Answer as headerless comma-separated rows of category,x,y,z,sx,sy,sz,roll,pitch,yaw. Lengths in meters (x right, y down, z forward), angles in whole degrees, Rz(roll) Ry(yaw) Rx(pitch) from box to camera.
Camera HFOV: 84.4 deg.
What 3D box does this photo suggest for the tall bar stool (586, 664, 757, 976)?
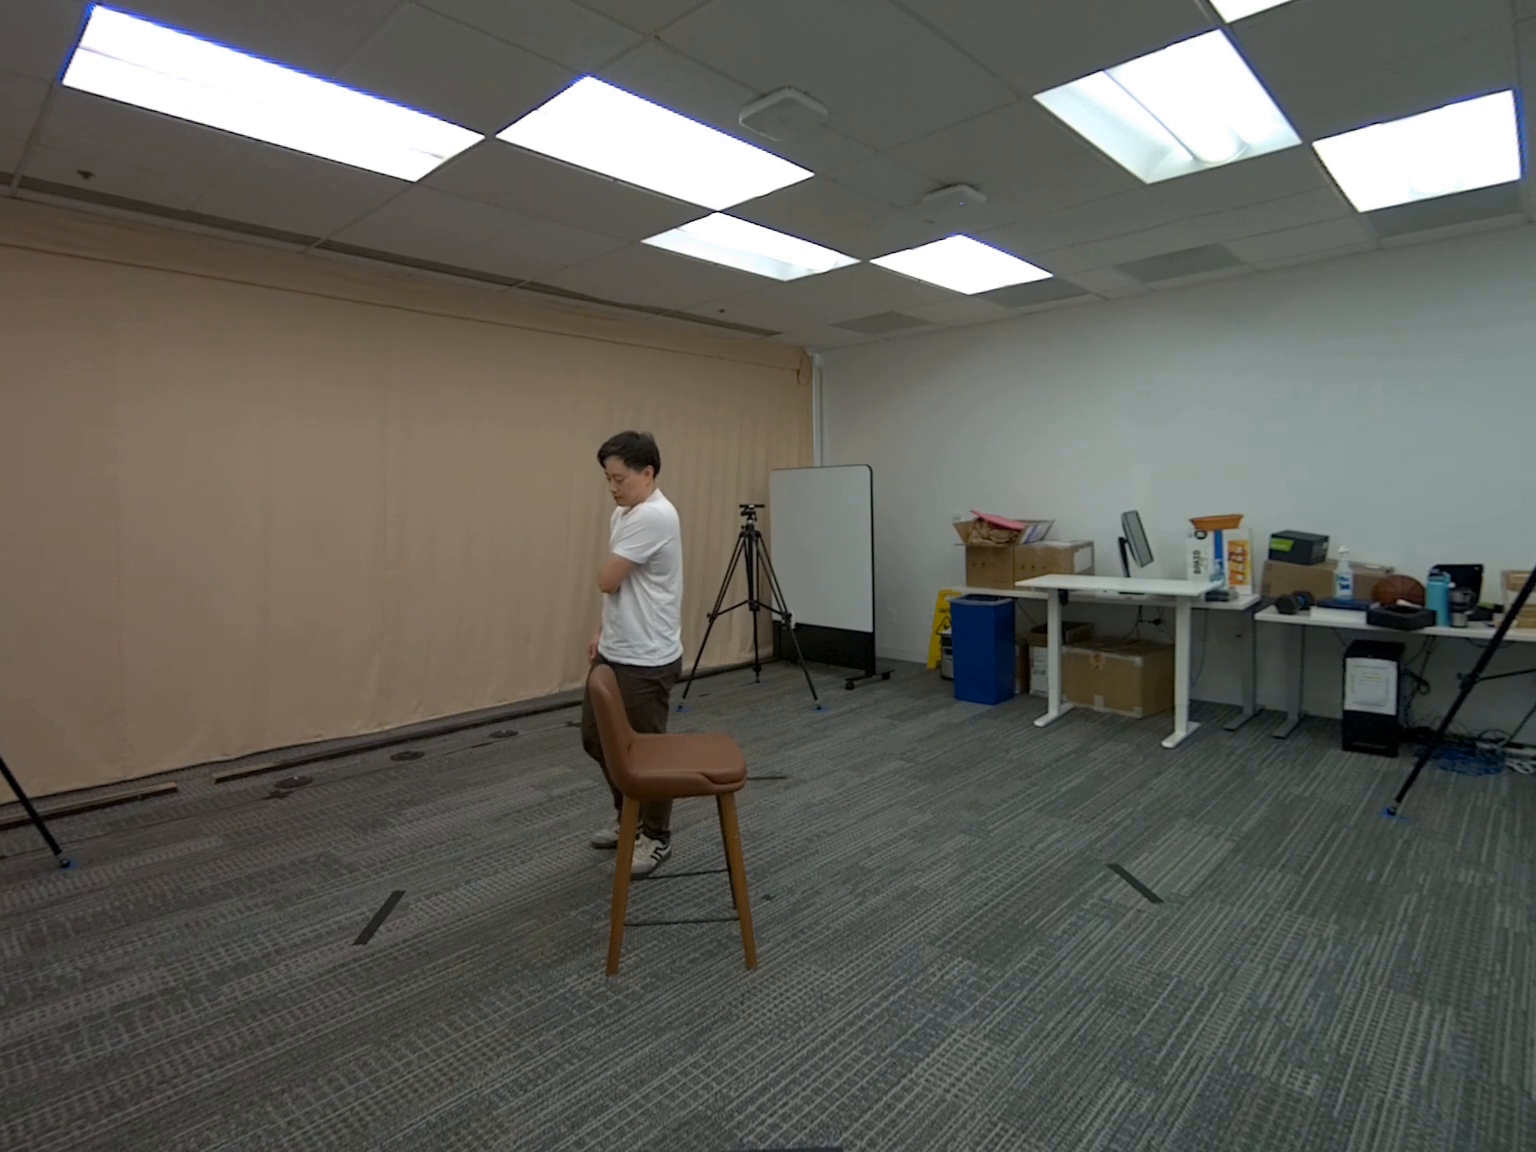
tall bar stool,-0.295,0.737,2.683,0.464,0.888,0.461,-3,3,-7
